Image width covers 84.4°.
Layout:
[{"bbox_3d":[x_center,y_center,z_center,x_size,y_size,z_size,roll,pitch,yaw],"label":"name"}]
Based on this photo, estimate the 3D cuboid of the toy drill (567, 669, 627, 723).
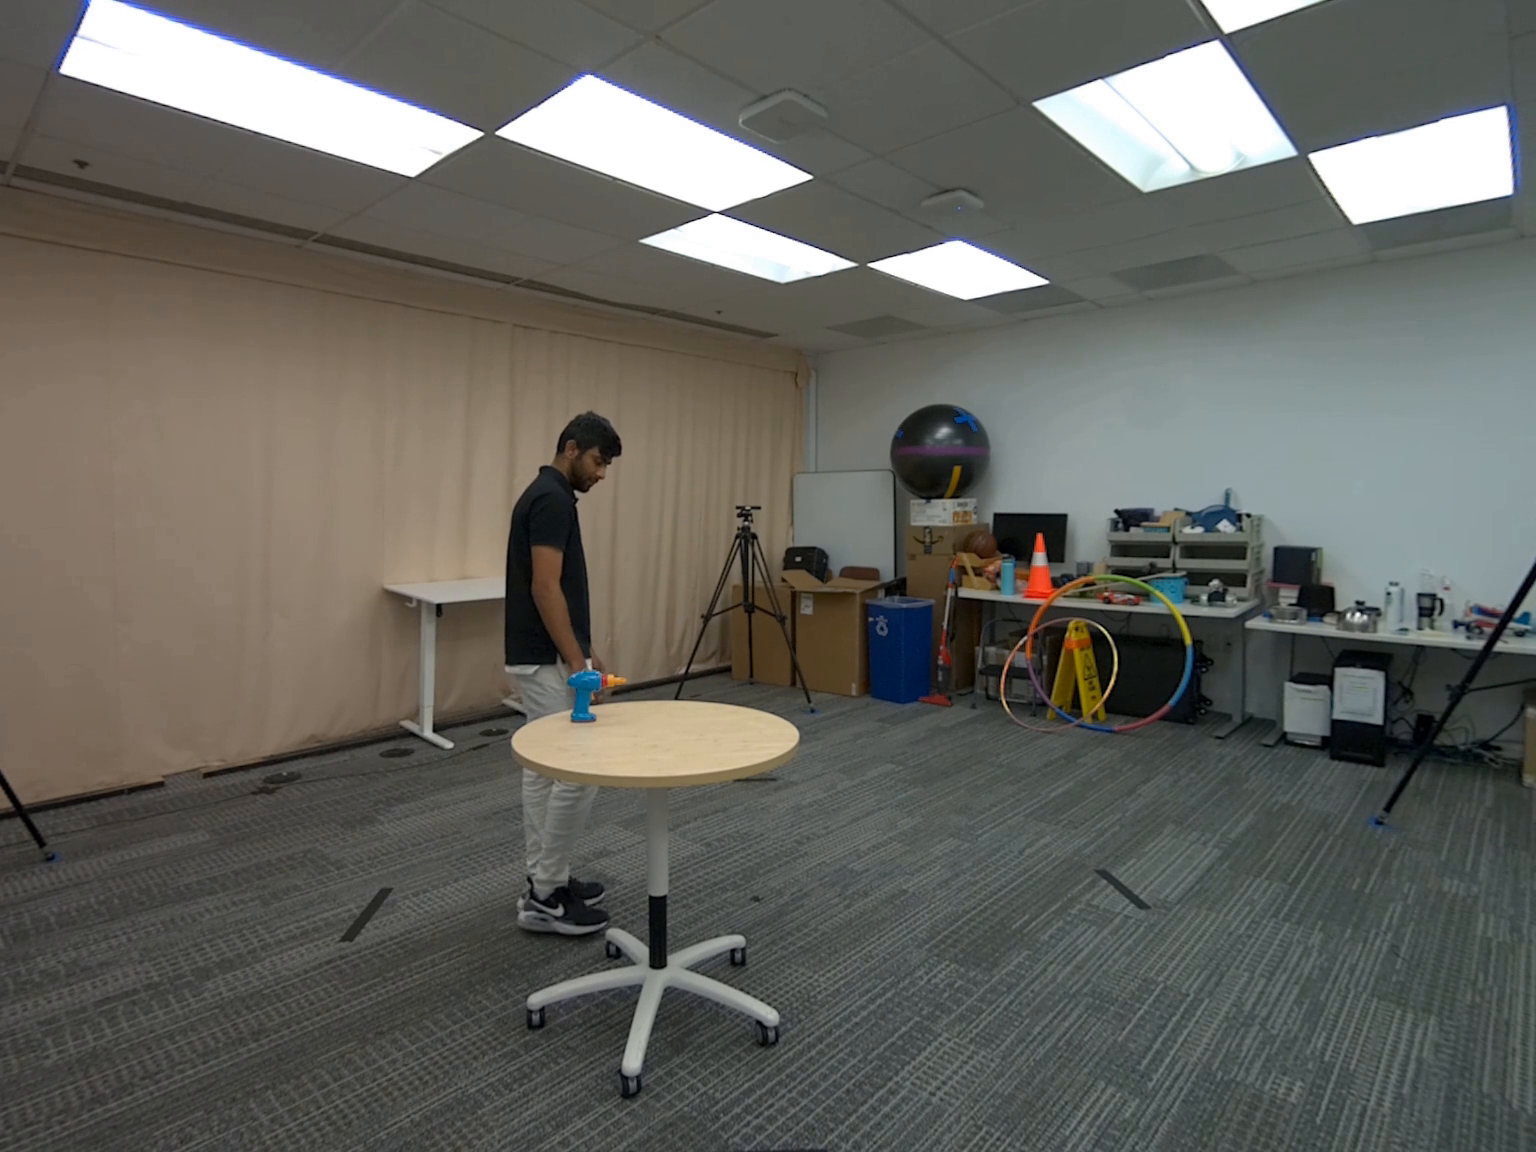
[{"bbox_3d":[-0.482,0.339,2.396,0.168,0.146,0.062,-1,2,-10],"label":"toy drill"}]
